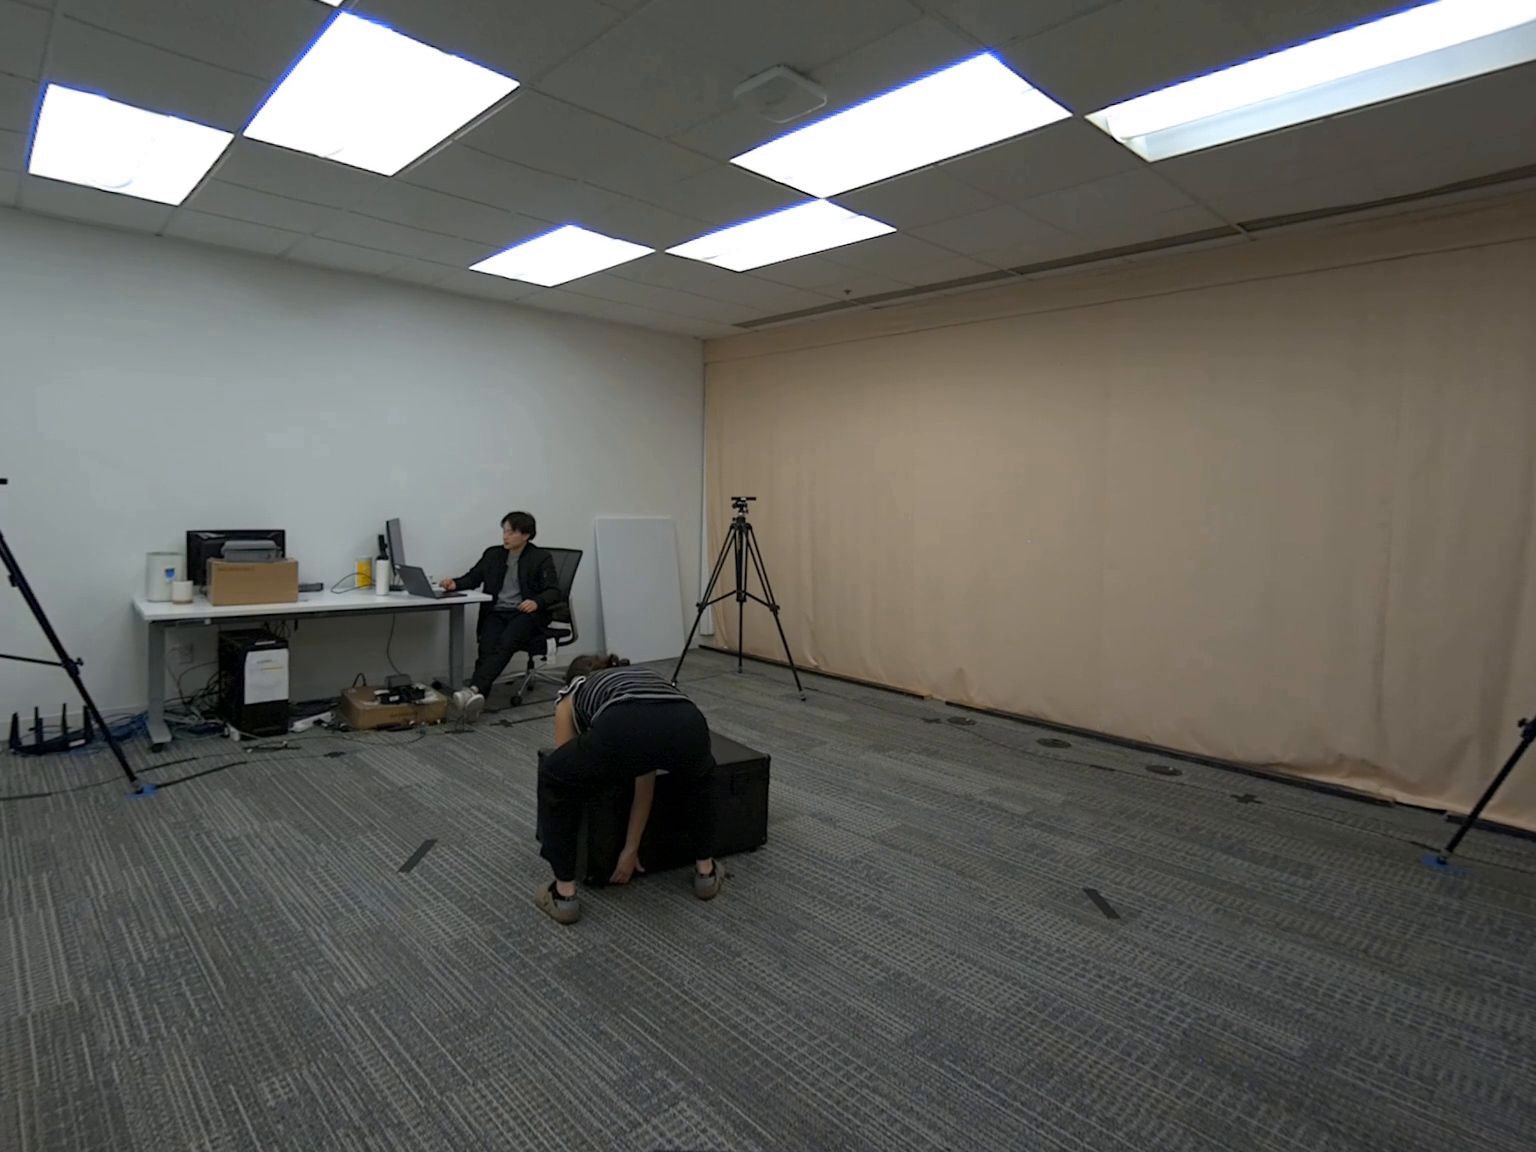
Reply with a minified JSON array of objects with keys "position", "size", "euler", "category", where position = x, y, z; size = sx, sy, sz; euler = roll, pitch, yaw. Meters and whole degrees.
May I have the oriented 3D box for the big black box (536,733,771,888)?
[{"position":[-0.426,0.890,3.349],"size":[0.843,0.395,0.534],"euler":[-3,6,-35],"category":"big black box"}]
